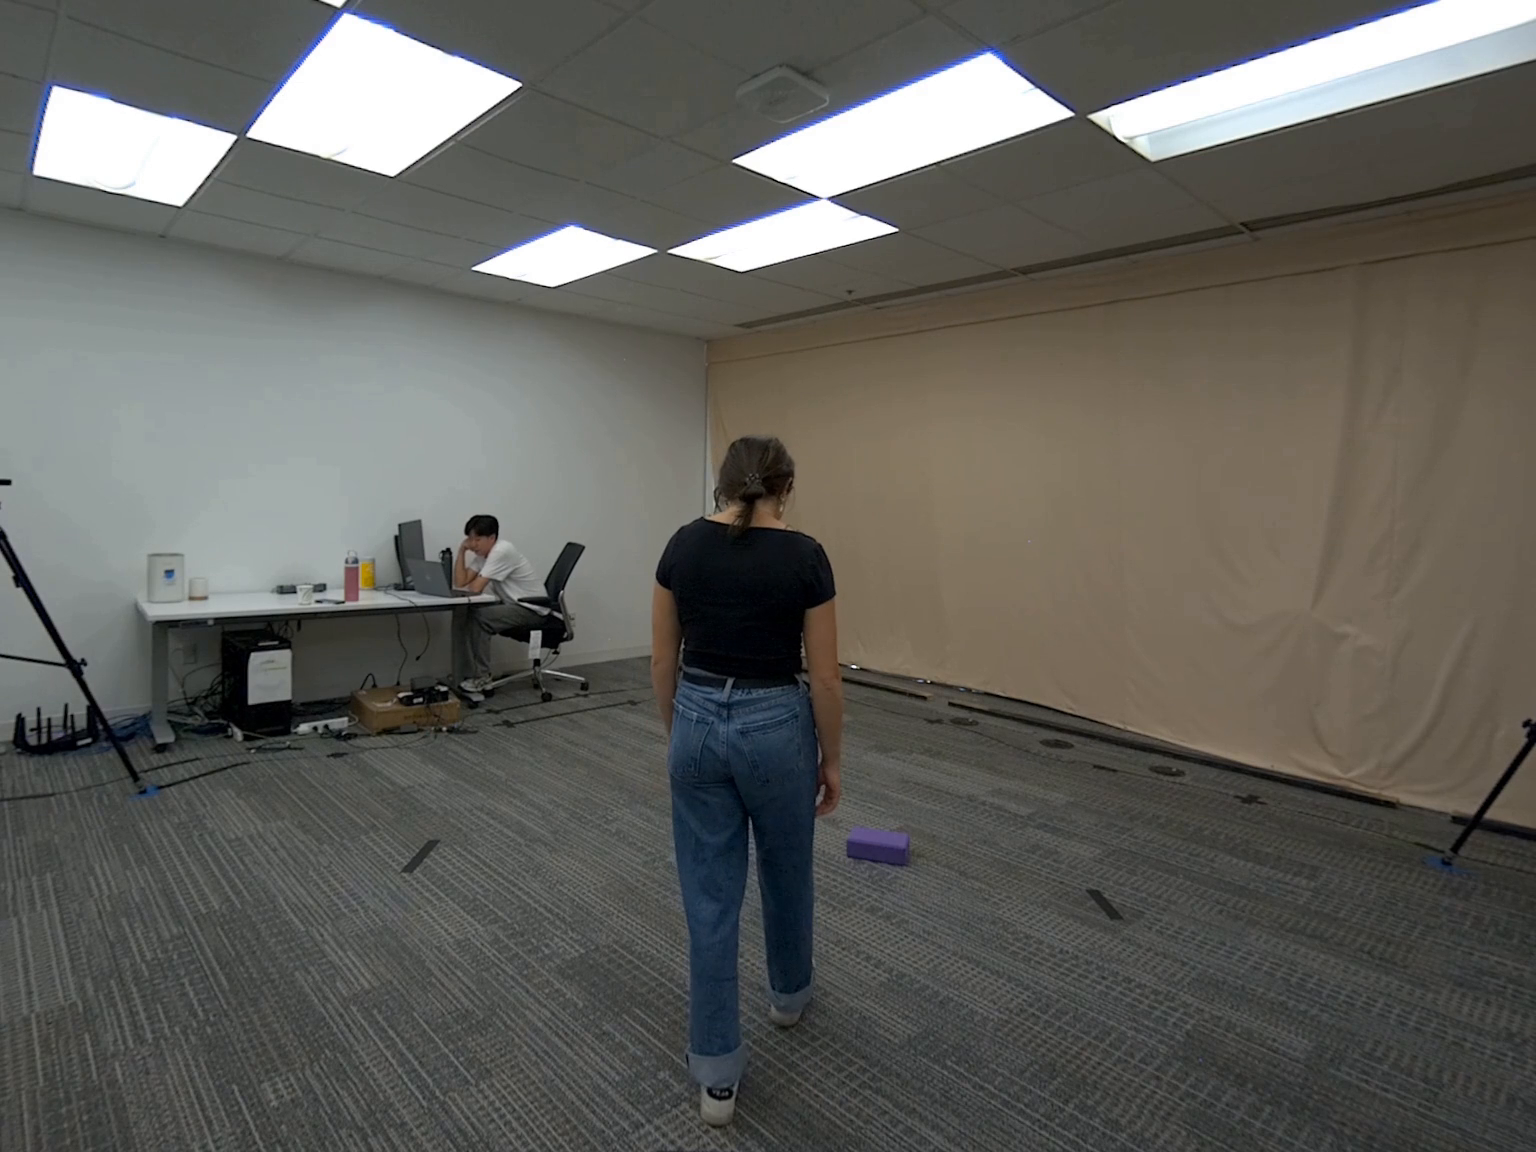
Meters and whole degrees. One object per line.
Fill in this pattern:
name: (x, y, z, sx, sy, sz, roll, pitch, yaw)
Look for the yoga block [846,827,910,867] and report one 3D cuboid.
yoga block: (0.425, 1.064, 3.318, 0.233, 0.076, 0.147, 1, 5, 18)
